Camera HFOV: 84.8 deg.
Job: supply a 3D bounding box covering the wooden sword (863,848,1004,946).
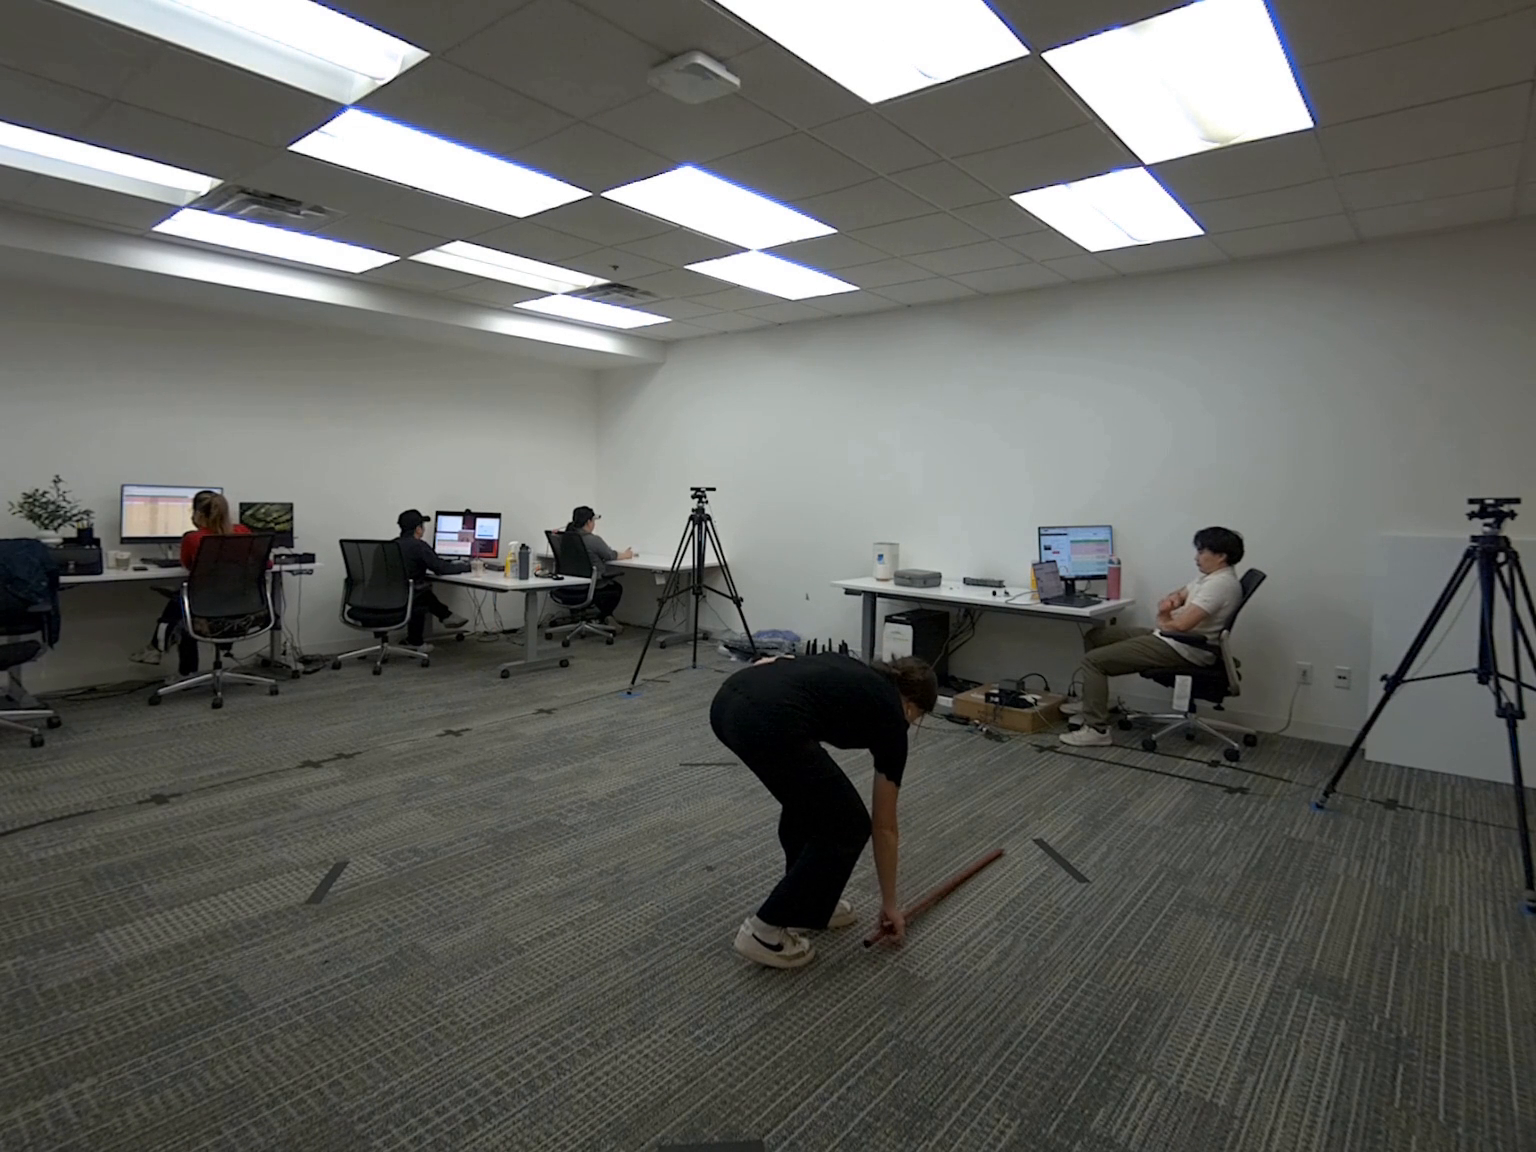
[{"bbox_3d":[0.587,1.065,2.941,0.052,0.024,0.994,-20,-10,38],"label":"wooden sword"}]
